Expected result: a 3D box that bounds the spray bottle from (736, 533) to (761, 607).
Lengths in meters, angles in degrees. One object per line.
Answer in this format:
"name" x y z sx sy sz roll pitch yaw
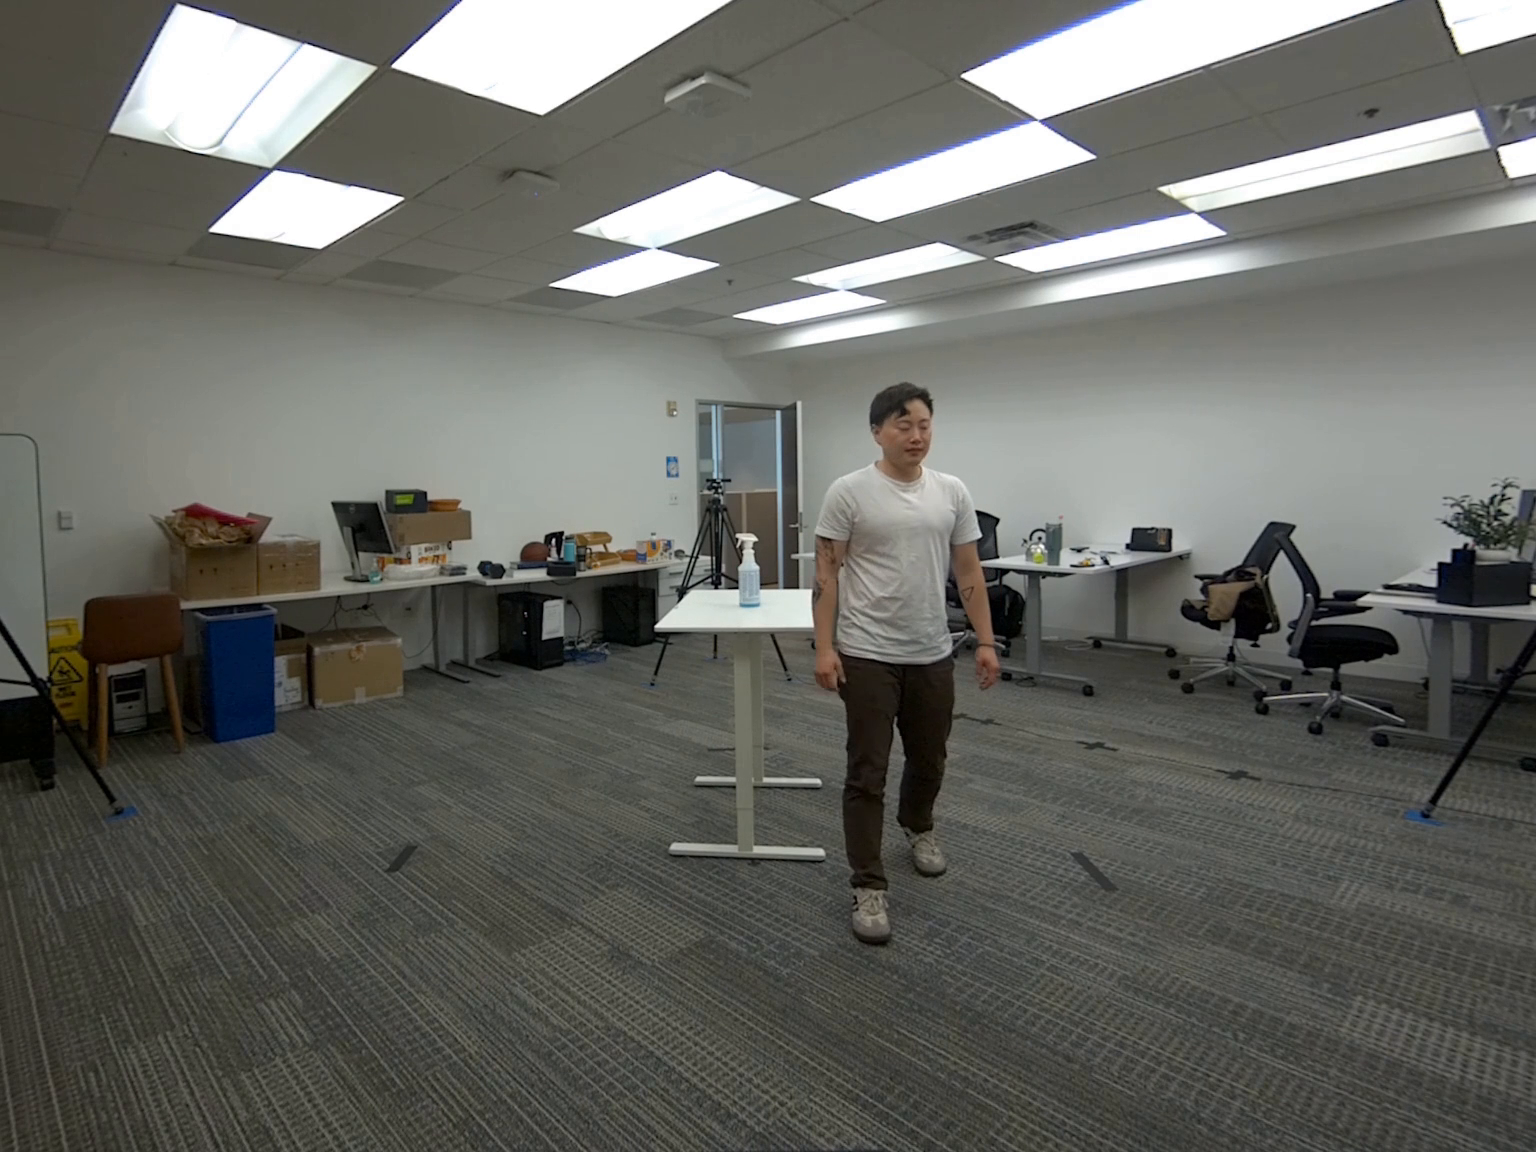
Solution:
"spray bottle" -0.082 -0.025 3.467 0.091 0.296 0.087 -1 4 7
